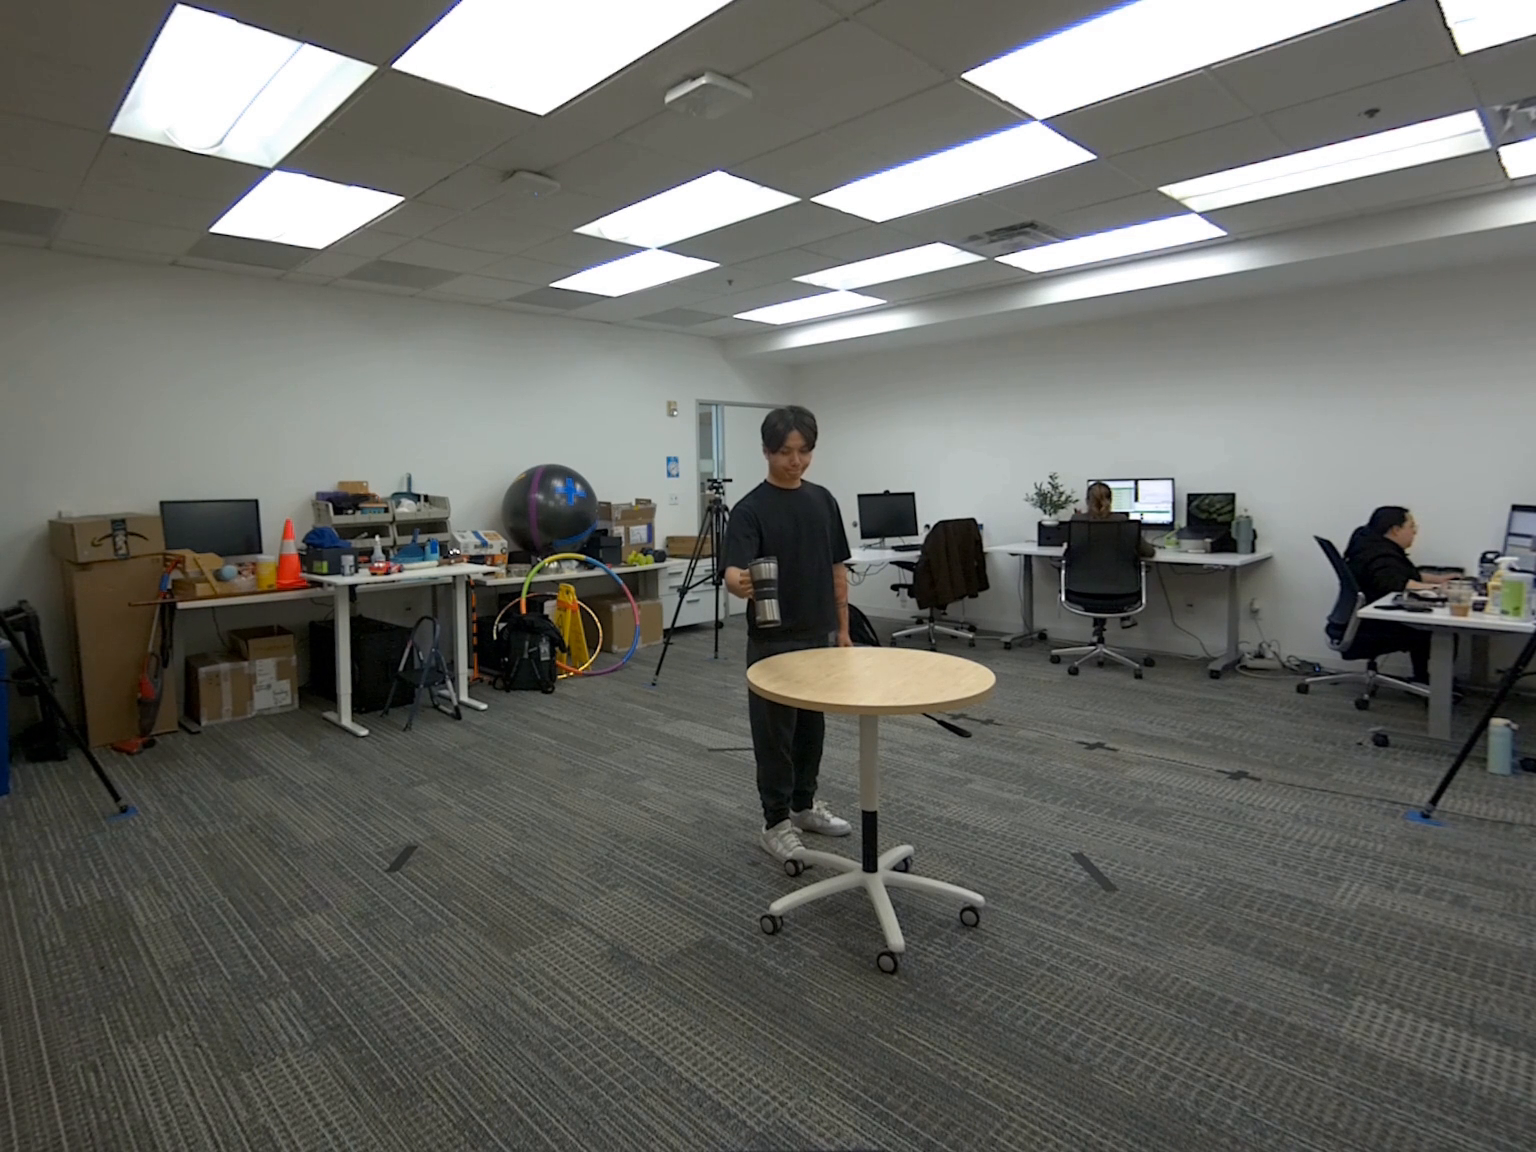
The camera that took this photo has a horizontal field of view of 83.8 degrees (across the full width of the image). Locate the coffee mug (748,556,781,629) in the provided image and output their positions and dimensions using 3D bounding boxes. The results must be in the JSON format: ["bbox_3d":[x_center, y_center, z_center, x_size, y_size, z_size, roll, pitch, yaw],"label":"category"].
[{"bbox_3d":[0.006,0.049,2.542,0.089,0.205,0.118,-18,-13,37],"label":"coffee mug"}]
